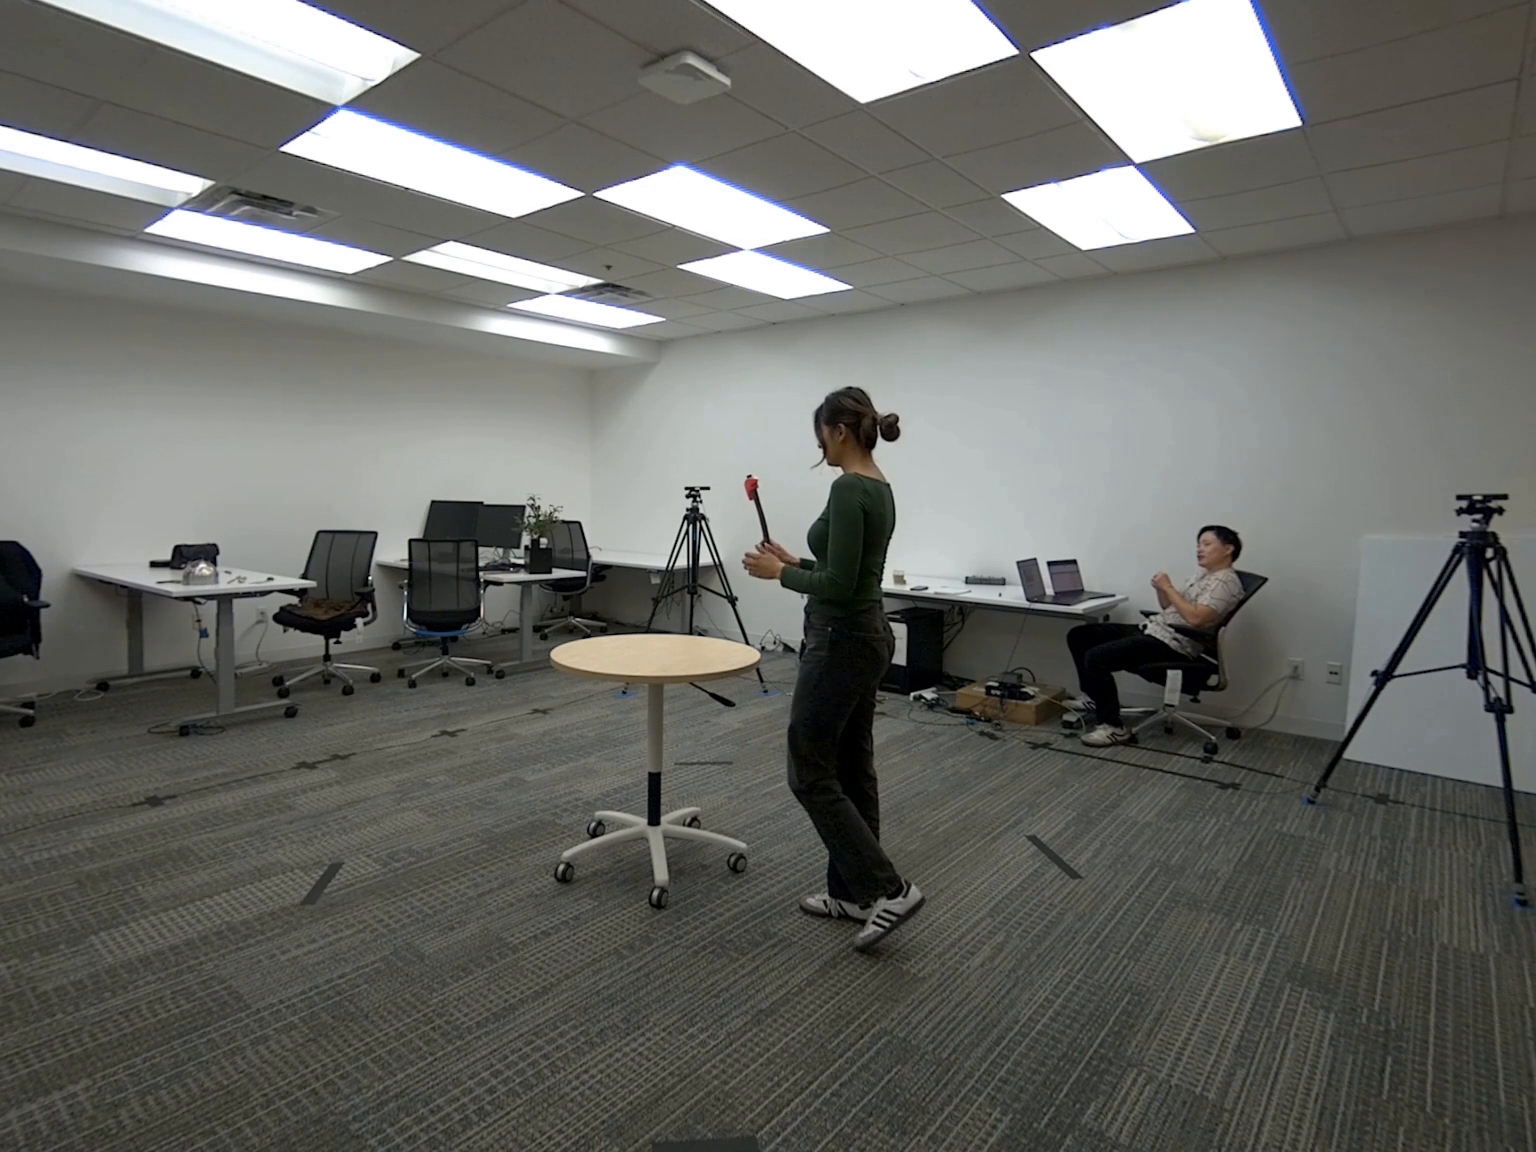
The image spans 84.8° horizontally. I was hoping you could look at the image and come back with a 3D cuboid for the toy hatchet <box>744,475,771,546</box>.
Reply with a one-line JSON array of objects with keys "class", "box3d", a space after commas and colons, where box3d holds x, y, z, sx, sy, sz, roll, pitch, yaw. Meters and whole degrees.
[{"class": "toy hatchet", "box3d": [-0.047, -0.225, 2.917, 0.029, 0.266, 0.135, -20, 15, -21]}]
